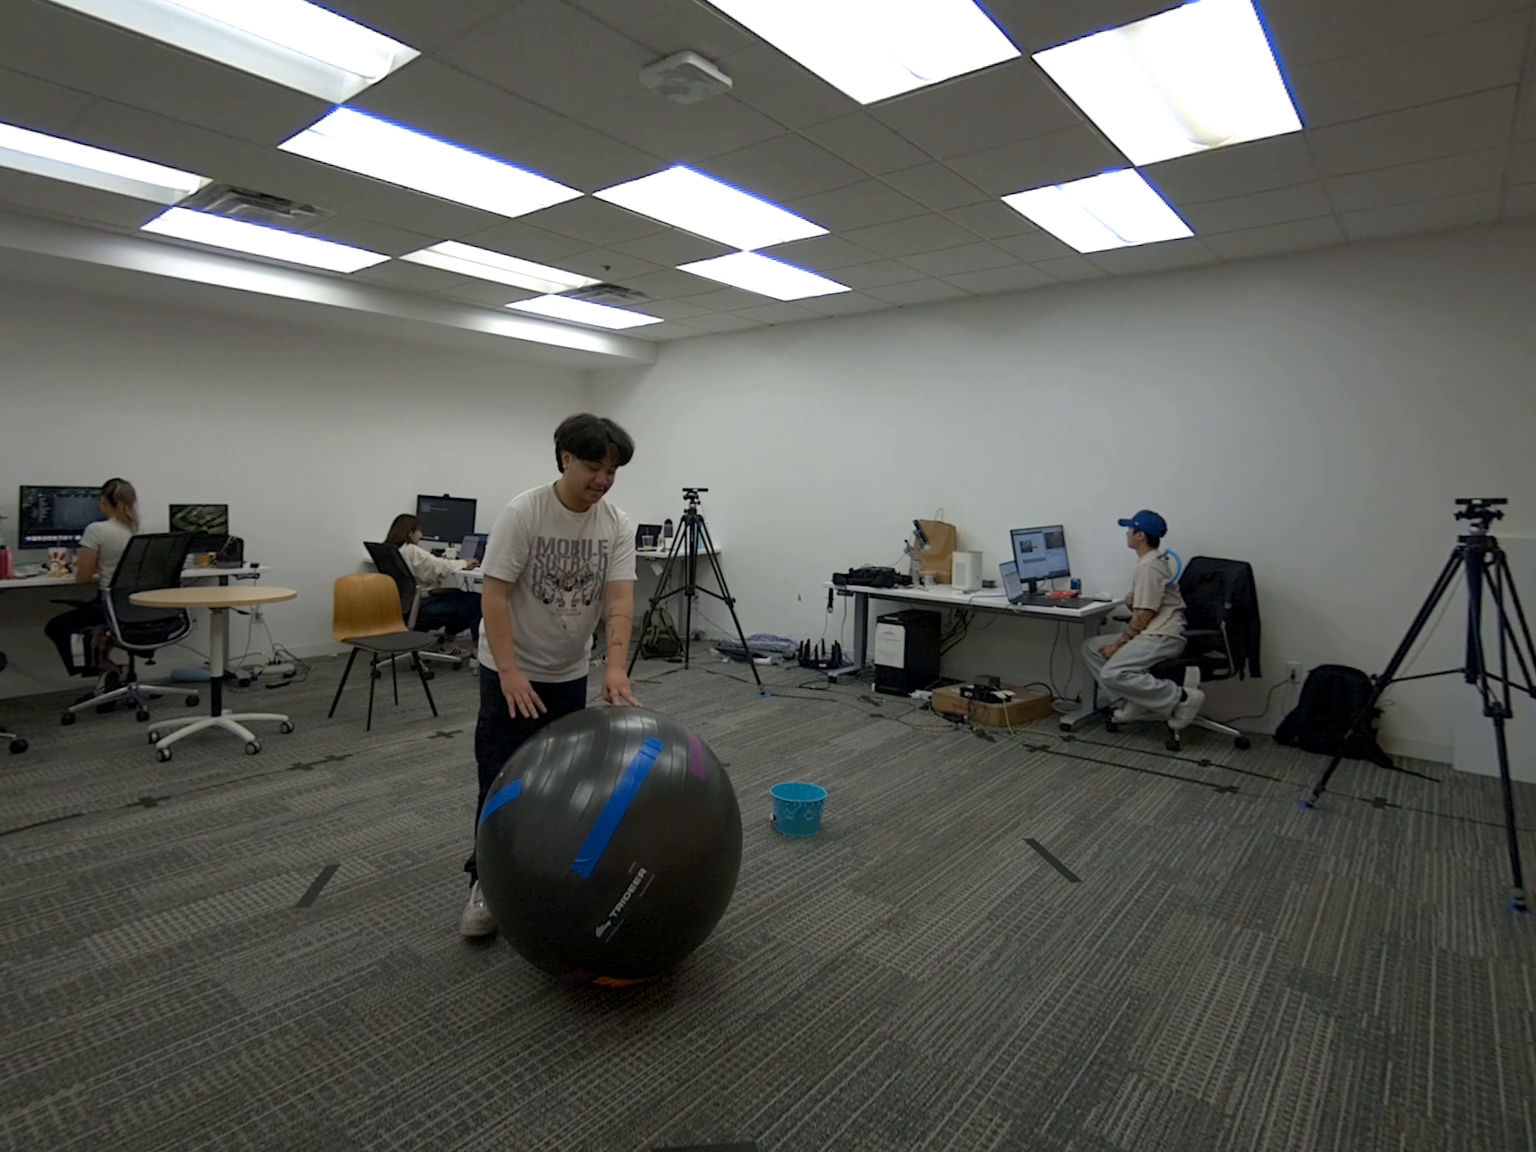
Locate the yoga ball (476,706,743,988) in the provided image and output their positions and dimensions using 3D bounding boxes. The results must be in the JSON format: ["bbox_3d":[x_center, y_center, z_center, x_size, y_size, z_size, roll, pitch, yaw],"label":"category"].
[{"bbox_3d":[-0.456,0.764,2.455,0.757,0.755,0.762,1,4,-2],"label":"yoga ball"}]
